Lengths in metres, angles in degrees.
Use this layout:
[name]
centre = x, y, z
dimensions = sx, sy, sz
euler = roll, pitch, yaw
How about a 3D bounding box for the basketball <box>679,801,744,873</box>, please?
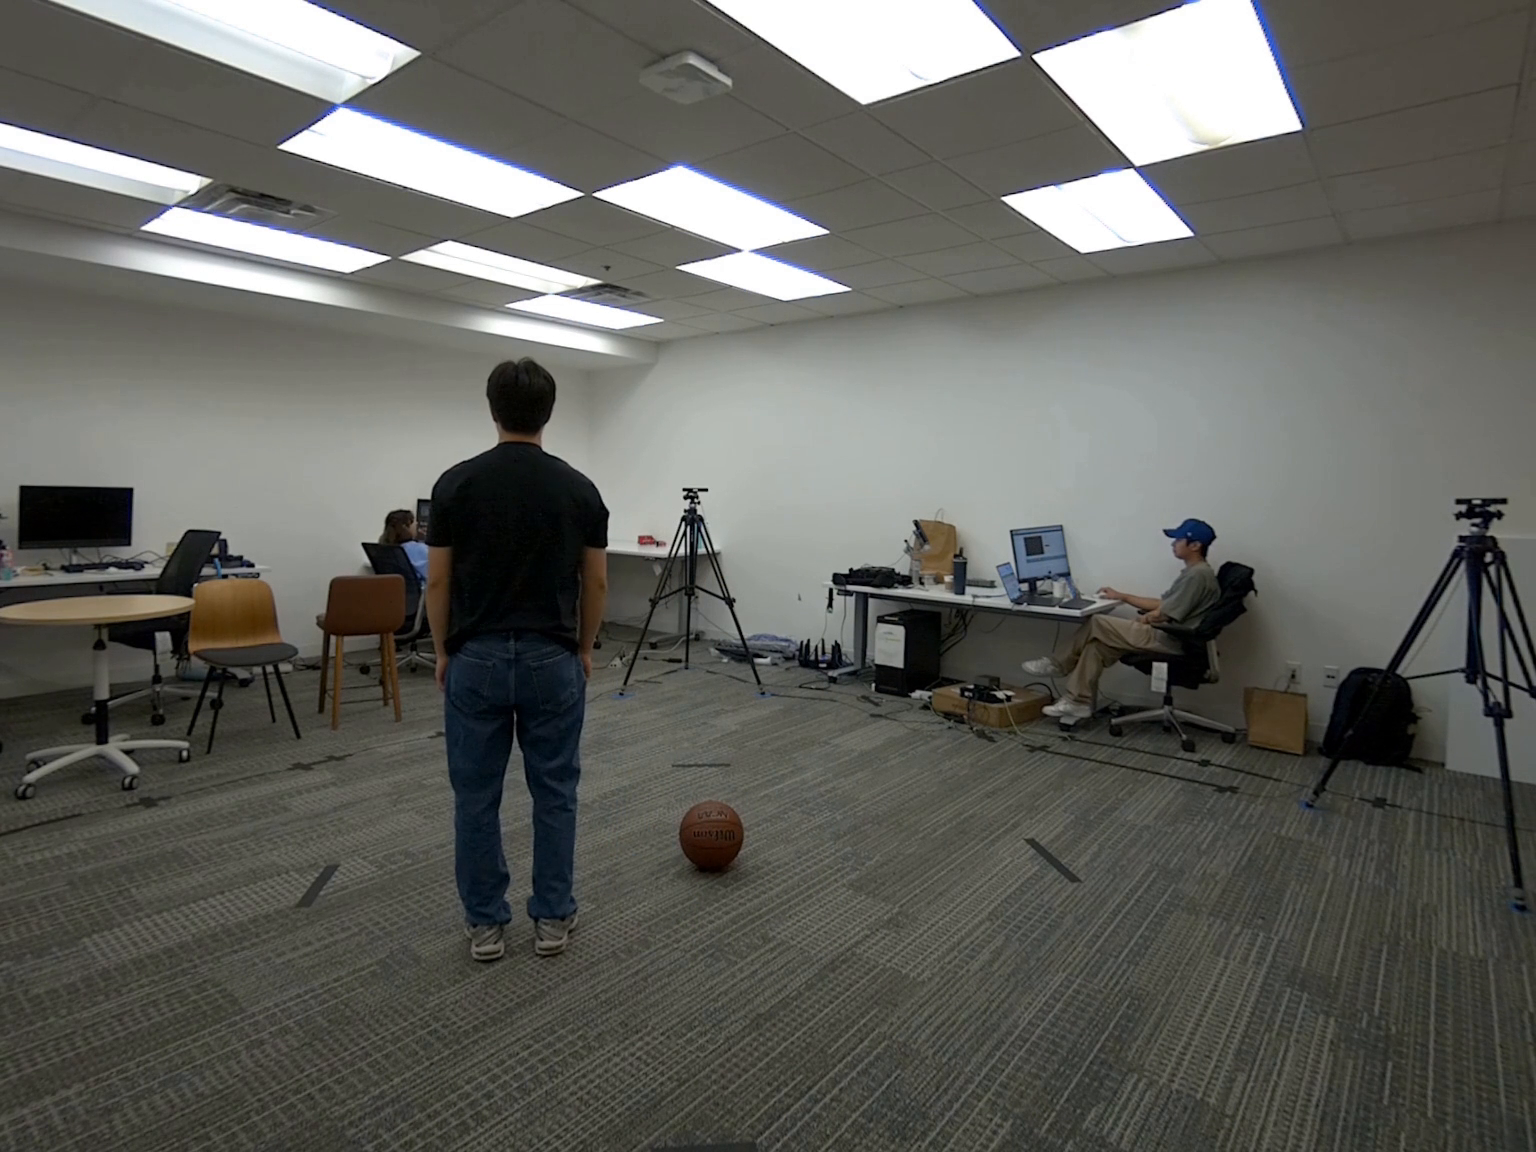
[basketball]
centre = -0.217, 0.945, 3.127
dimensions = 0.236, 0.235, 0.237
euler = 1, 4, -2
